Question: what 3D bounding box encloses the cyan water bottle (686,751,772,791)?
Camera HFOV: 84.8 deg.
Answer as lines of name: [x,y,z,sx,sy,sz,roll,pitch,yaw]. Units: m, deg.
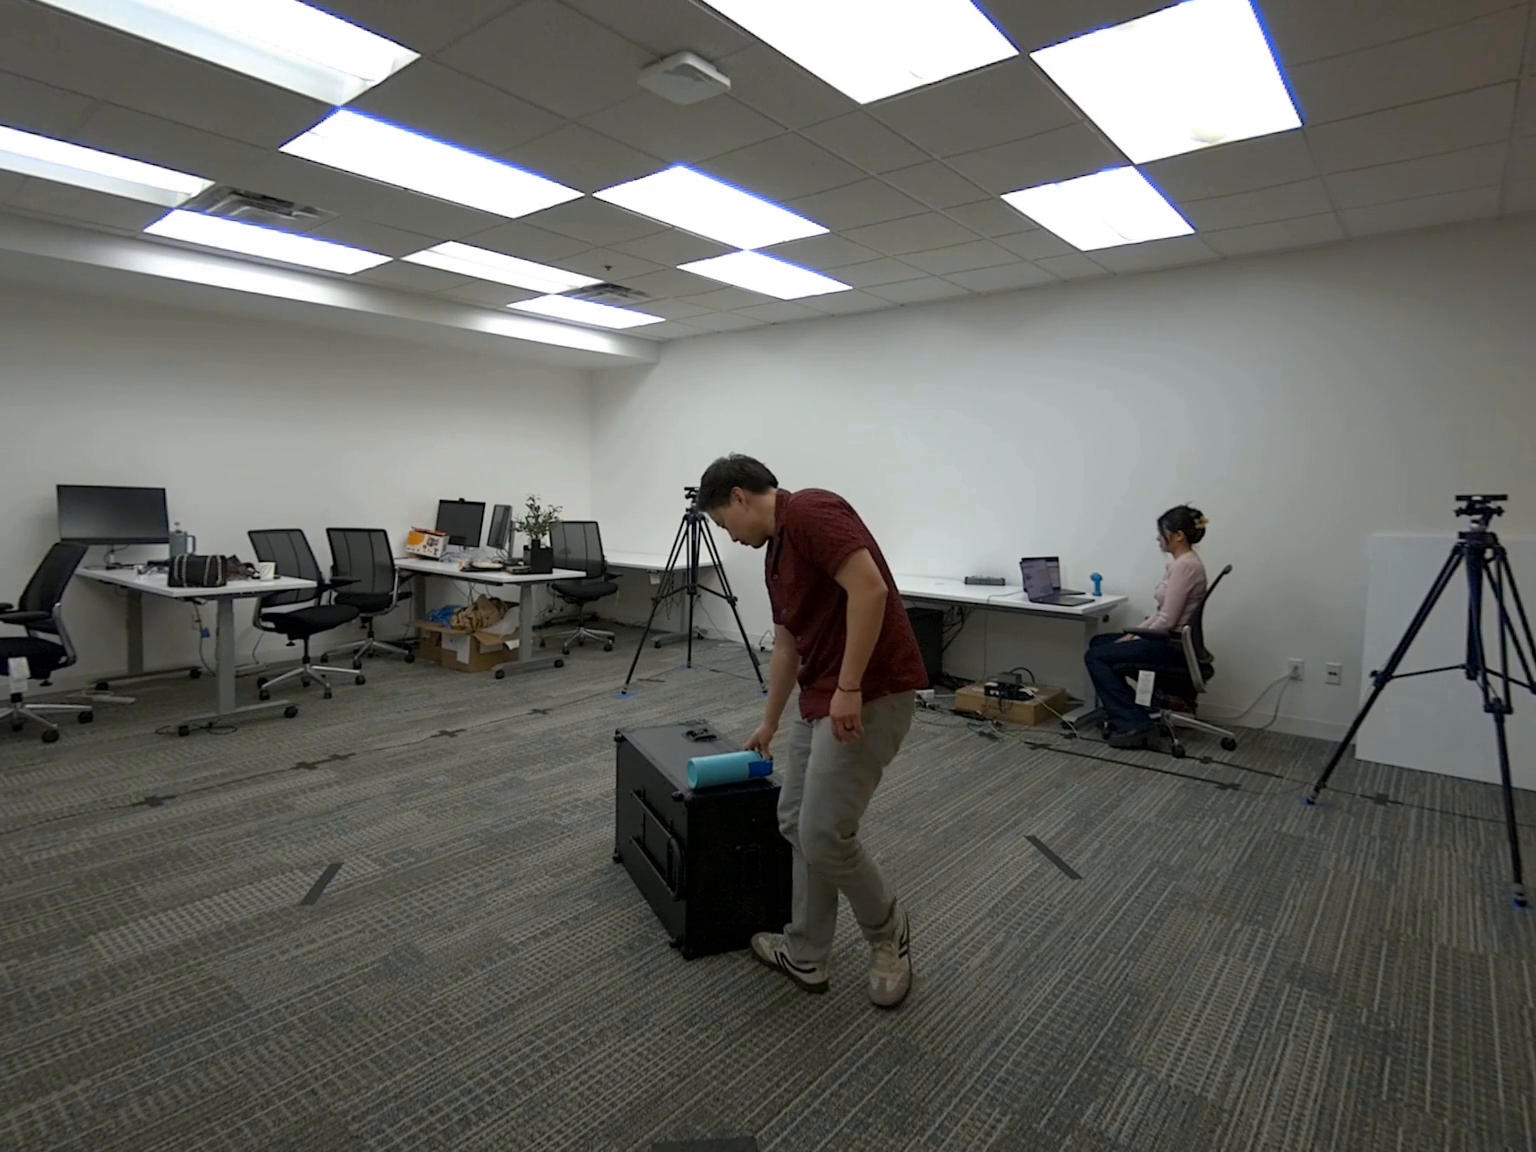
cyan water bottle: [-0.126,0.582,2.612,0.276,0.092,0.095,0,4,-25]
